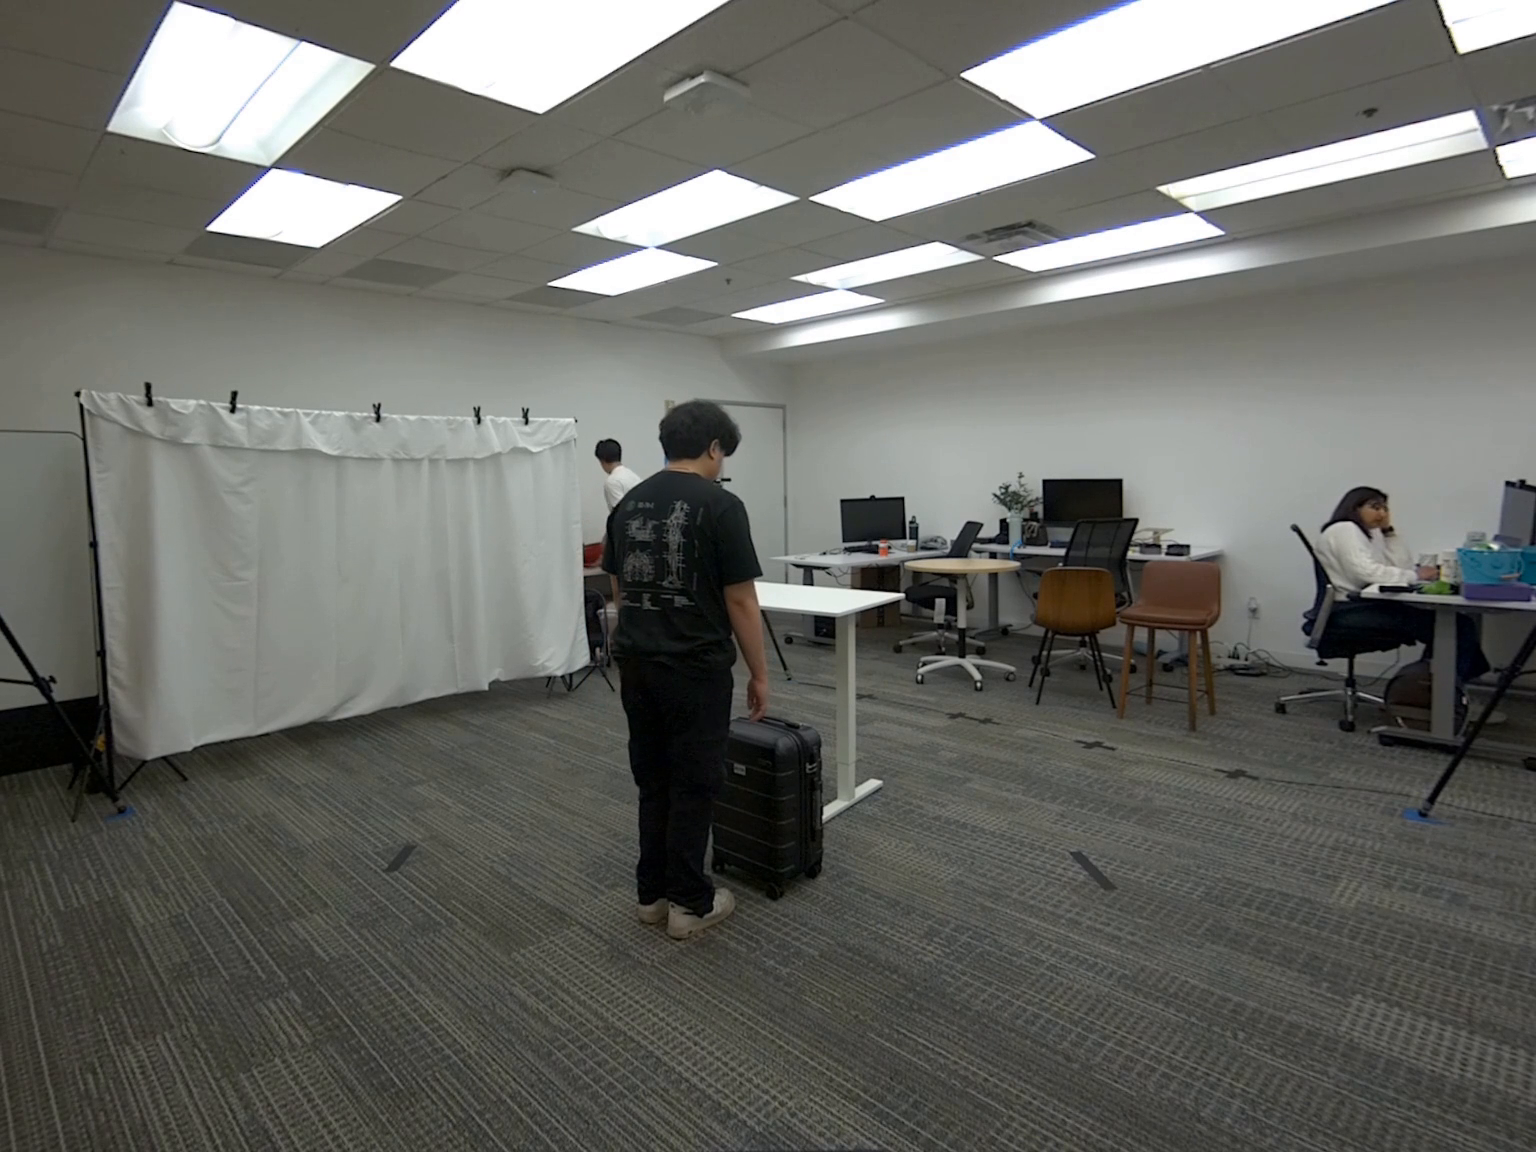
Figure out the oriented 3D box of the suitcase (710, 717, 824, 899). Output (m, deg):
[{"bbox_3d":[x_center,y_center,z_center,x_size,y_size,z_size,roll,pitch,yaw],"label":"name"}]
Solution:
[{"bbox_3d":[-0.001,0.781,2.992,0.387,0.547,0.242,4,6,43],"label":"suitcase"}]
